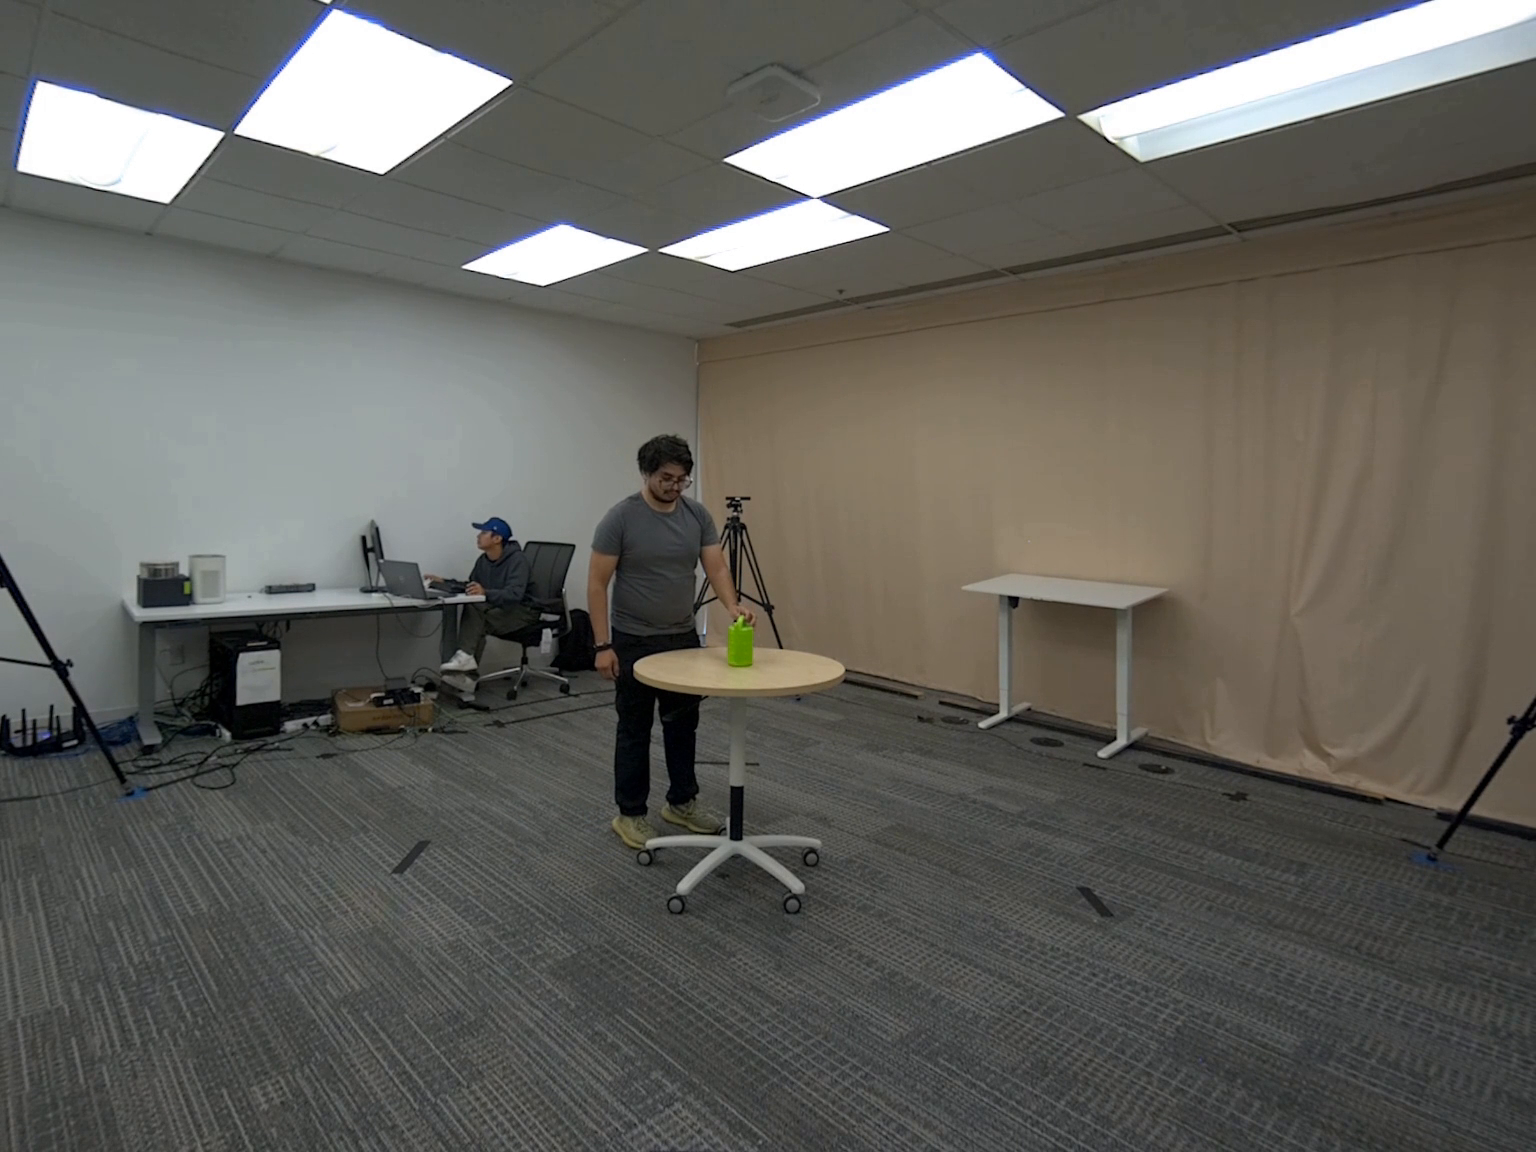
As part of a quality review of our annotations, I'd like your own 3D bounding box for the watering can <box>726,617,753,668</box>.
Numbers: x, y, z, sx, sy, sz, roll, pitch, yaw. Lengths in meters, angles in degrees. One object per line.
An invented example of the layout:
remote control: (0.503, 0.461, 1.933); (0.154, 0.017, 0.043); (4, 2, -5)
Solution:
watering can: (-0.125, 0.242, 3.045); (0.100, 0.176, 0.273); (3, 4, 25)
